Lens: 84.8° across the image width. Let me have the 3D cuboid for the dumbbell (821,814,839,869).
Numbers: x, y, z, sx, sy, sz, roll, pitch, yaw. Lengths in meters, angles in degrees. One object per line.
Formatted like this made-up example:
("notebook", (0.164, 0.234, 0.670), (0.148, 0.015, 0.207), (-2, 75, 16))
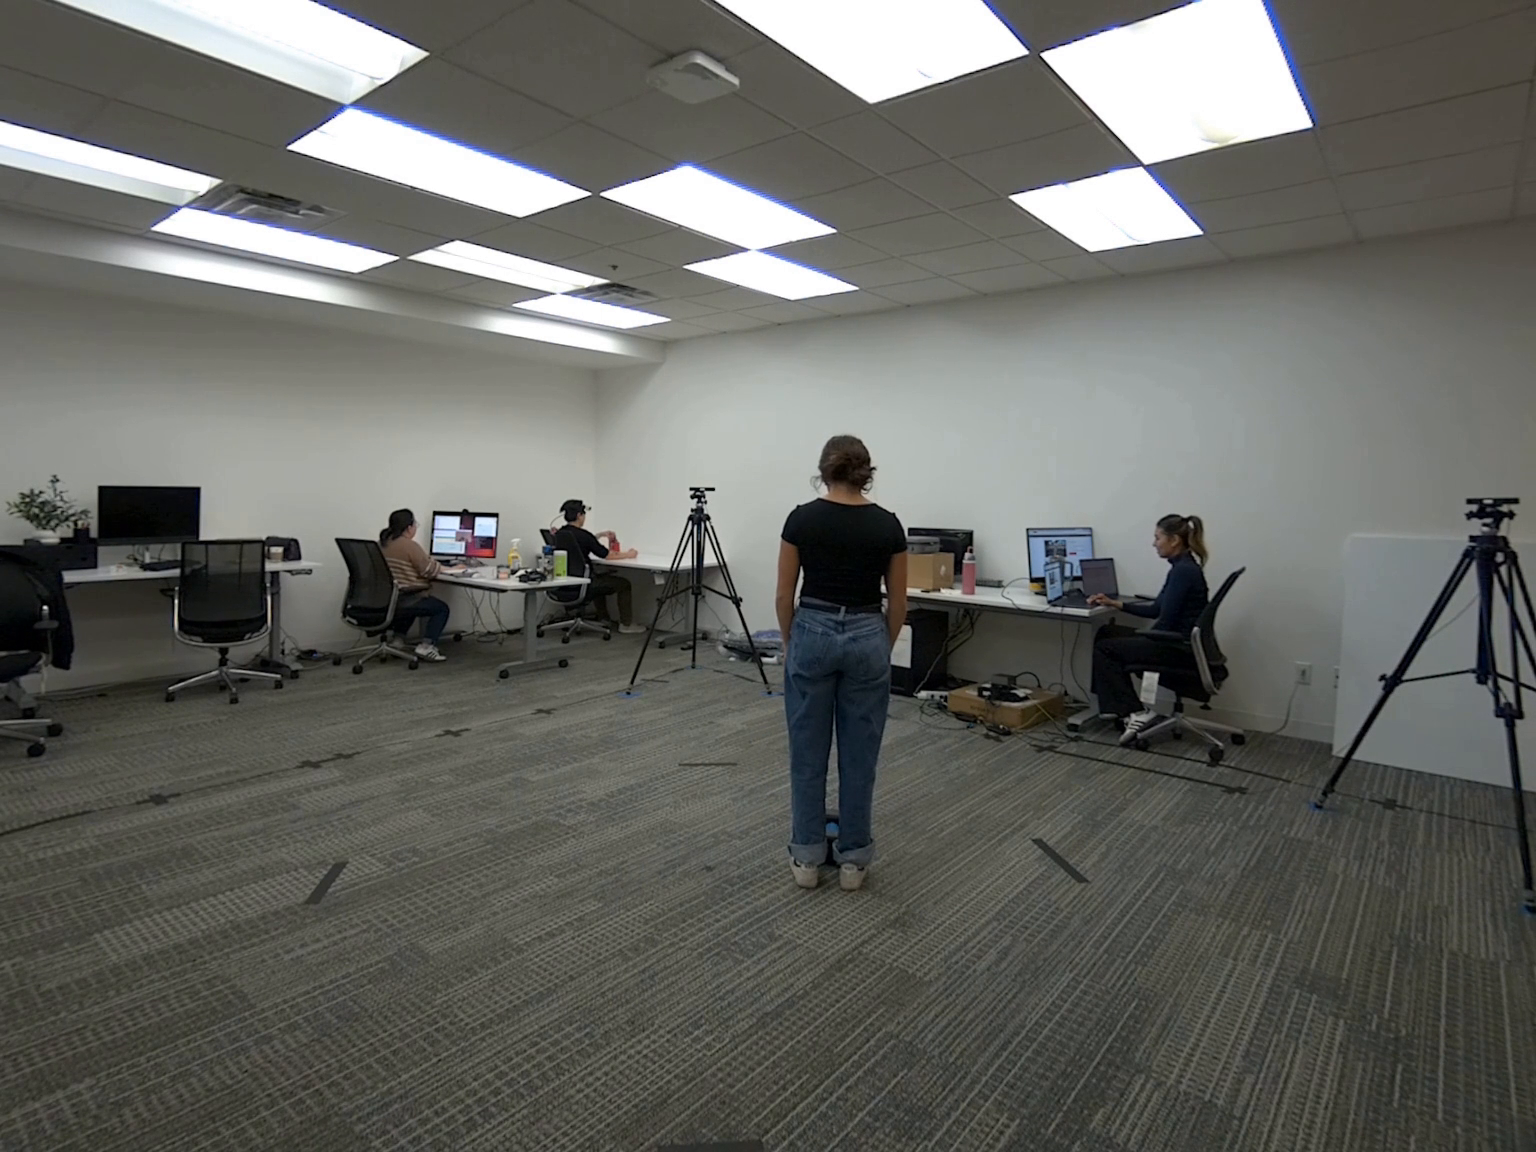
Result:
("dumbbell", (0.242, 1.006, 3.303), (0.110, 0.122, 0.291), (31, 9, 4))
